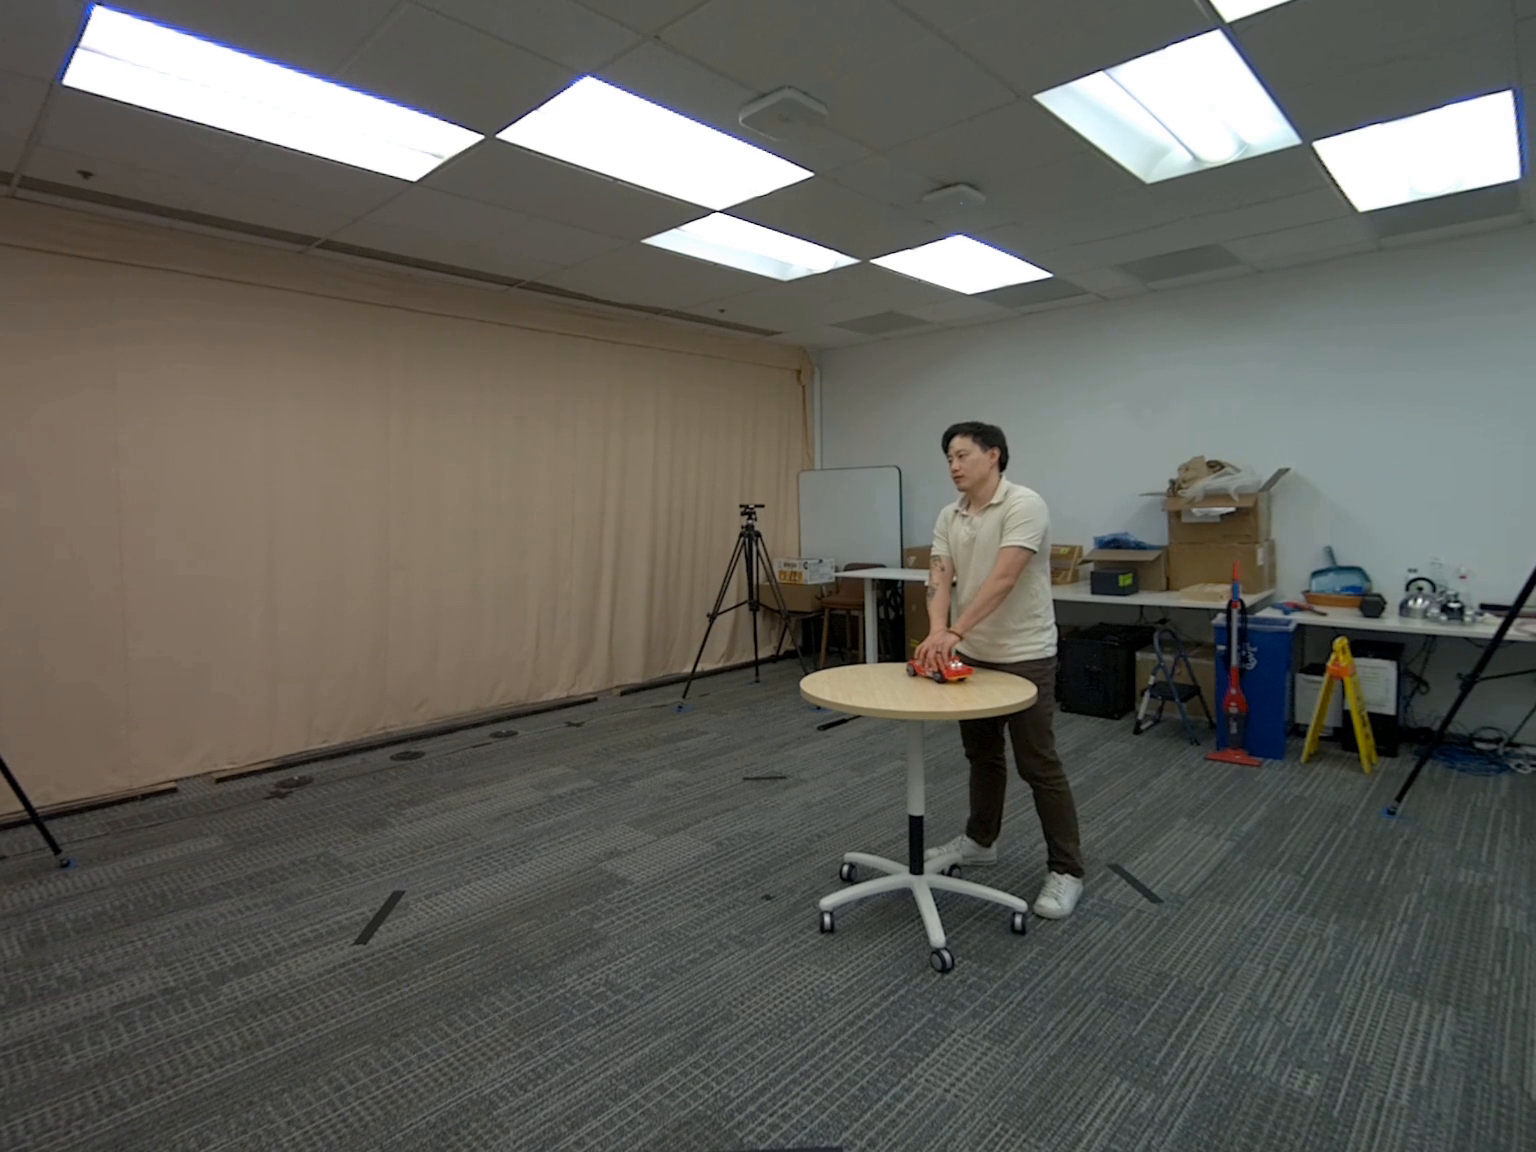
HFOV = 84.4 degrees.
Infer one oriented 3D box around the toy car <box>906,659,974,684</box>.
[{"bbox_3d":[0.602,0.325,2.873,0.127,0.083,0.260,-4,-5,-28],"label":"toy car"}]
